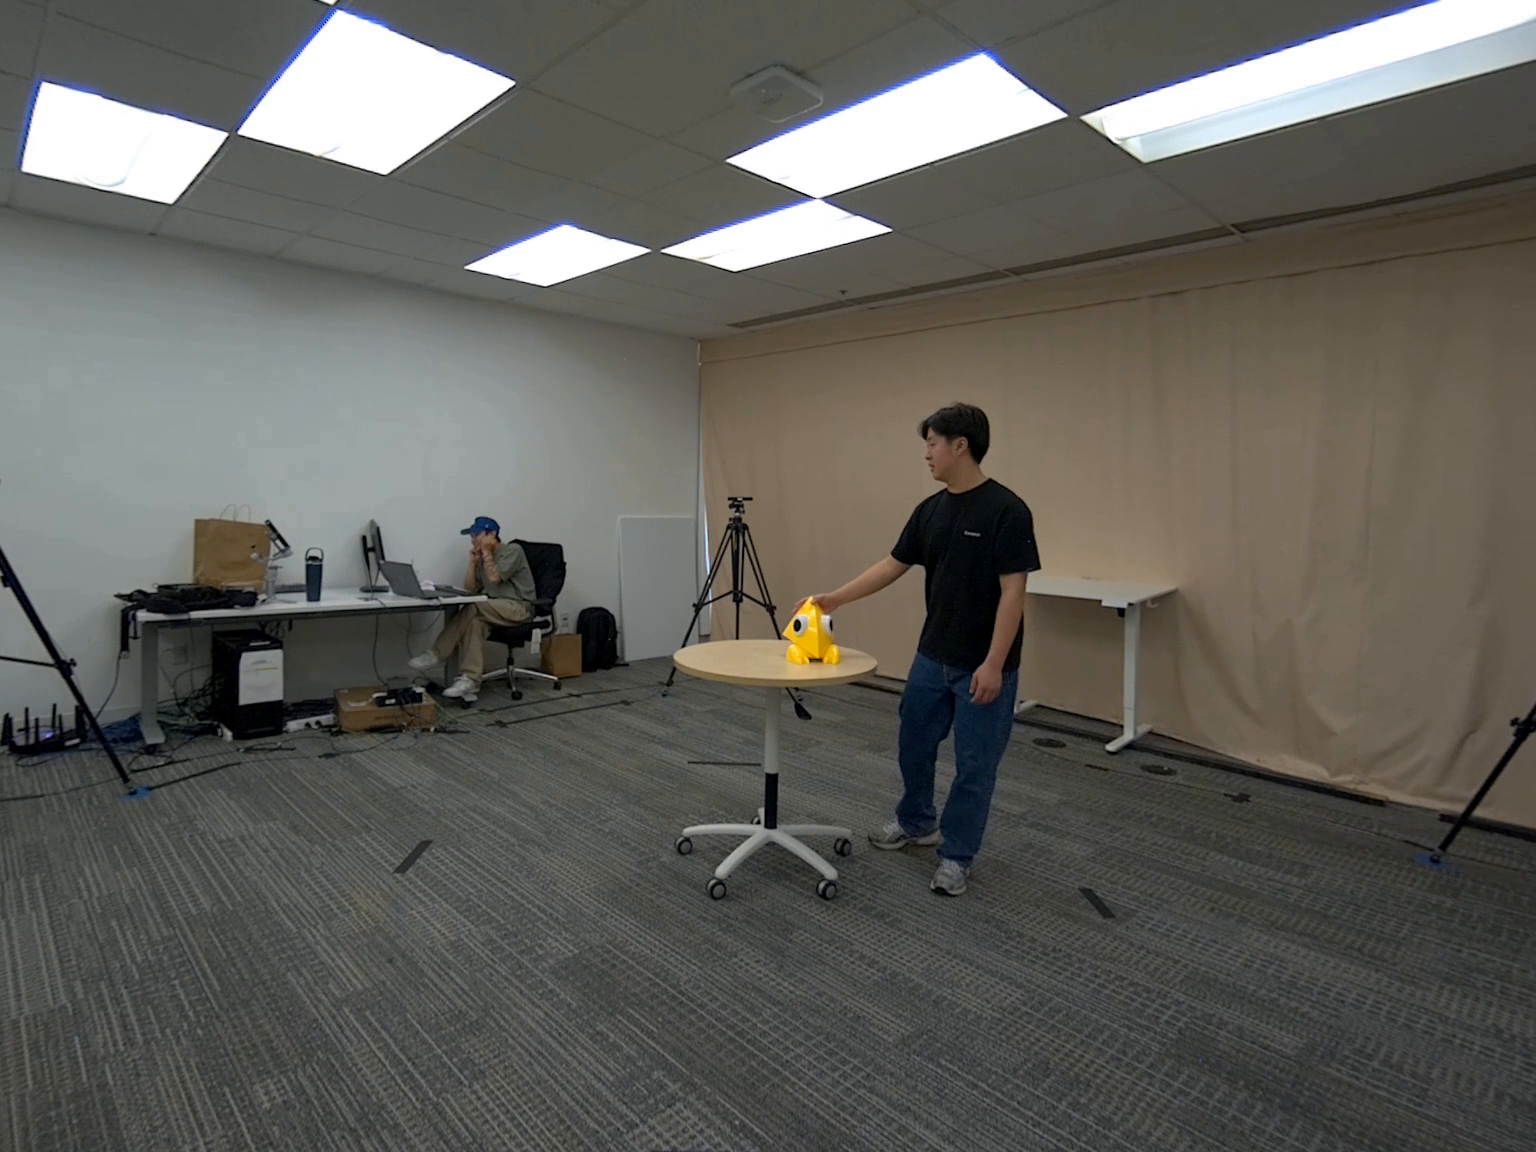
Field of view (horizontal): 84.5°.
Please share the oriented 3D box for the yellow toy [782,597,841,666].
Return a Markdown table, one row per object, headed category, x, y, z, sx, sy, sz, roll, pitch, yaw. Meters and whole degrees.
| category | x | y | z | sx | sy | sz | roll | pitch | yaw |
| --- | --- | --- | --- | --- | --- | --- | --- | --- | --- |
| yellow toy | 0.168 | 0.202 | 3.147 | 0.204 | 0.230 | 0.195 | 2 | 4 | -7 |
